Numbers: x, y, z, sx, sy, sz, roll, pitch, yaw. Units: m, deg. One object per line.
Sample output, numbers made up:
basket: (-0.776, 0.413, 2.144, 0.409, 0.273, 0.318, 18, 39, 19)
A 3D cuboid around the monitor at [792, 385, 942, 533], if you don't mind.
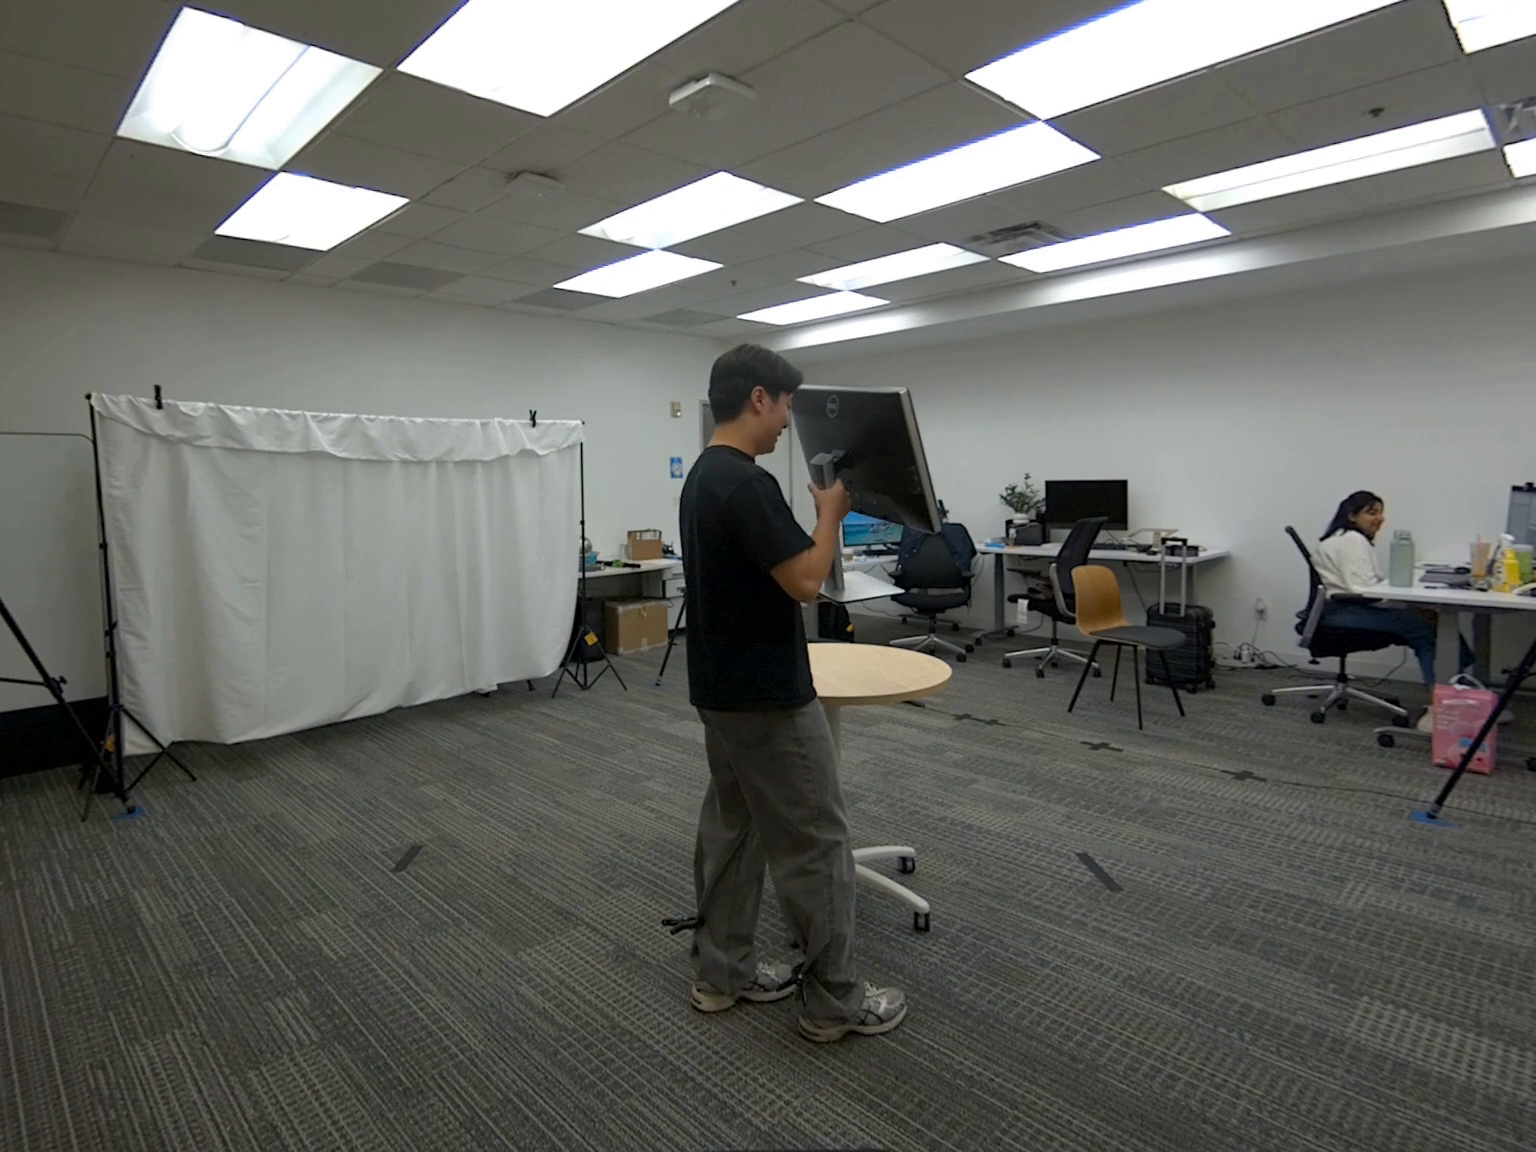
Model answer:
monitor: (0.212, -0.218, 2.258, 0.218, 0.559, 0.579, -7, 15, -22)
